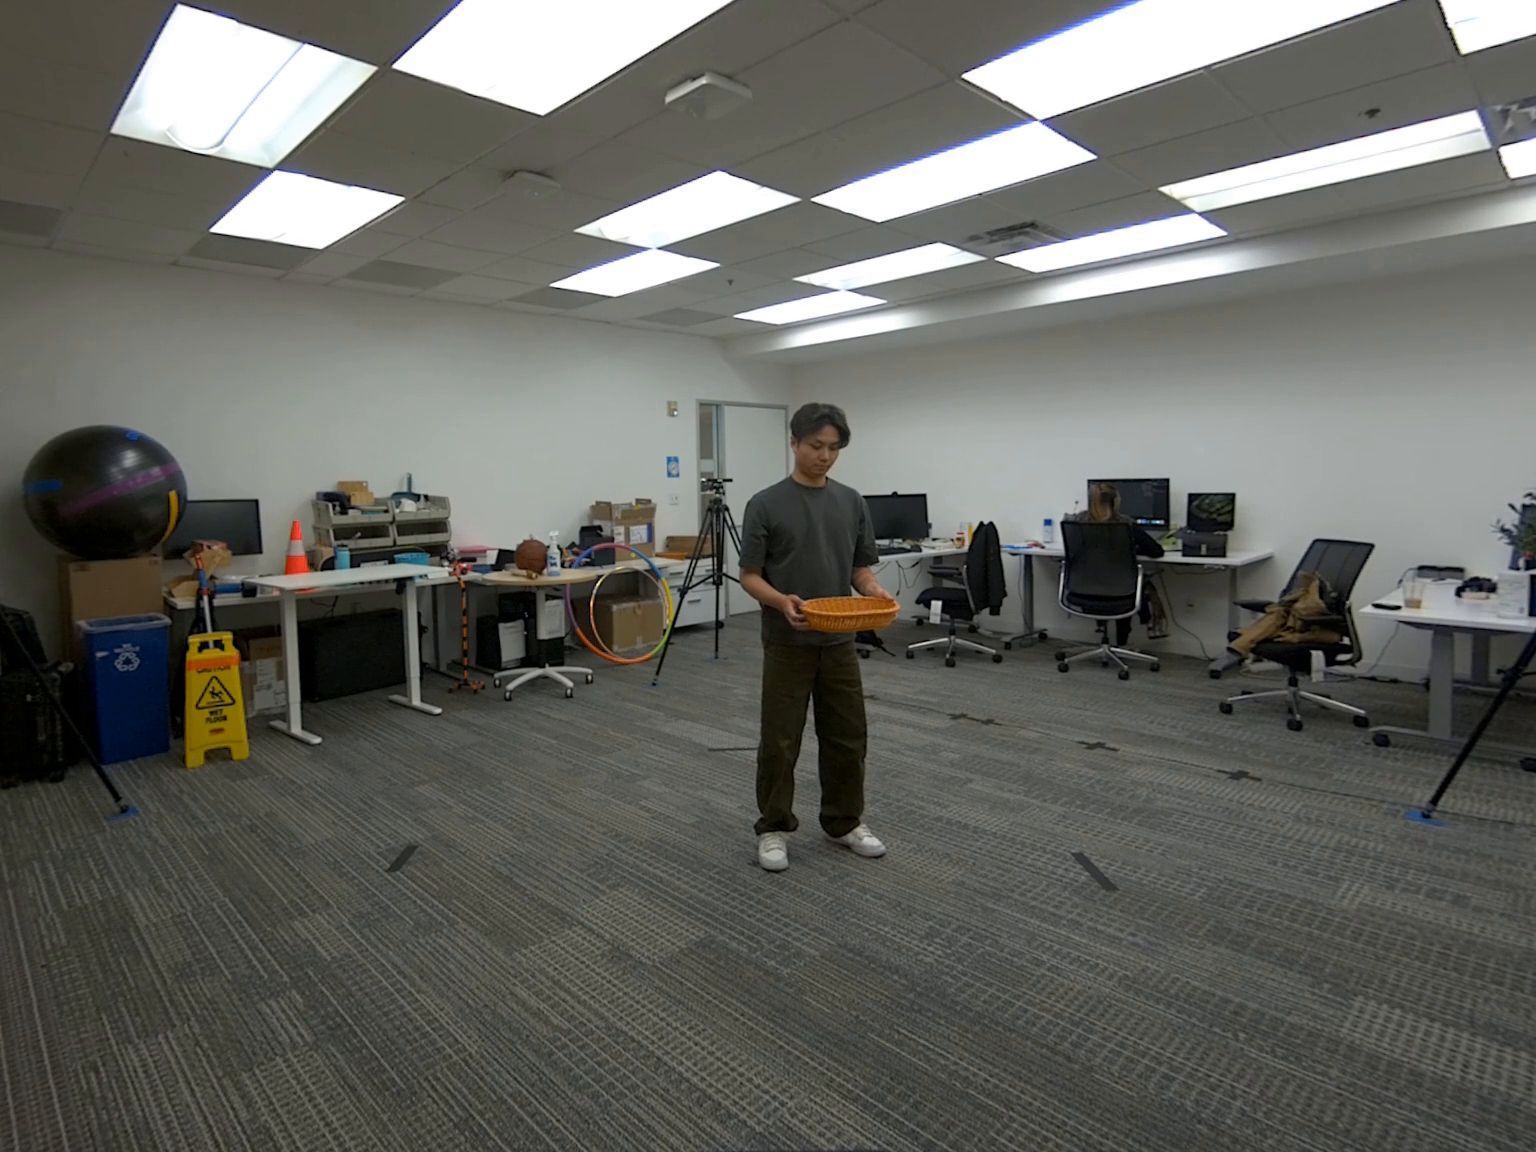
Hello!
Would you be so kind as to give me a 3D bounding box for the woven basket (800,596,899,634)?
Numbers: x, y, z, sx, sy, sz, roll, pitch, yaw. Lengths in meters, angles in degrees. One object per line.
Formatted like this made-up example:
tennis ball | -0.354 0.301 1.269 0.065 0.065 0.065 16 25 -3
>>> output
woven basket | 0.258 0.137 2.867 0.346 0.073 0.257 -3 10 -13
